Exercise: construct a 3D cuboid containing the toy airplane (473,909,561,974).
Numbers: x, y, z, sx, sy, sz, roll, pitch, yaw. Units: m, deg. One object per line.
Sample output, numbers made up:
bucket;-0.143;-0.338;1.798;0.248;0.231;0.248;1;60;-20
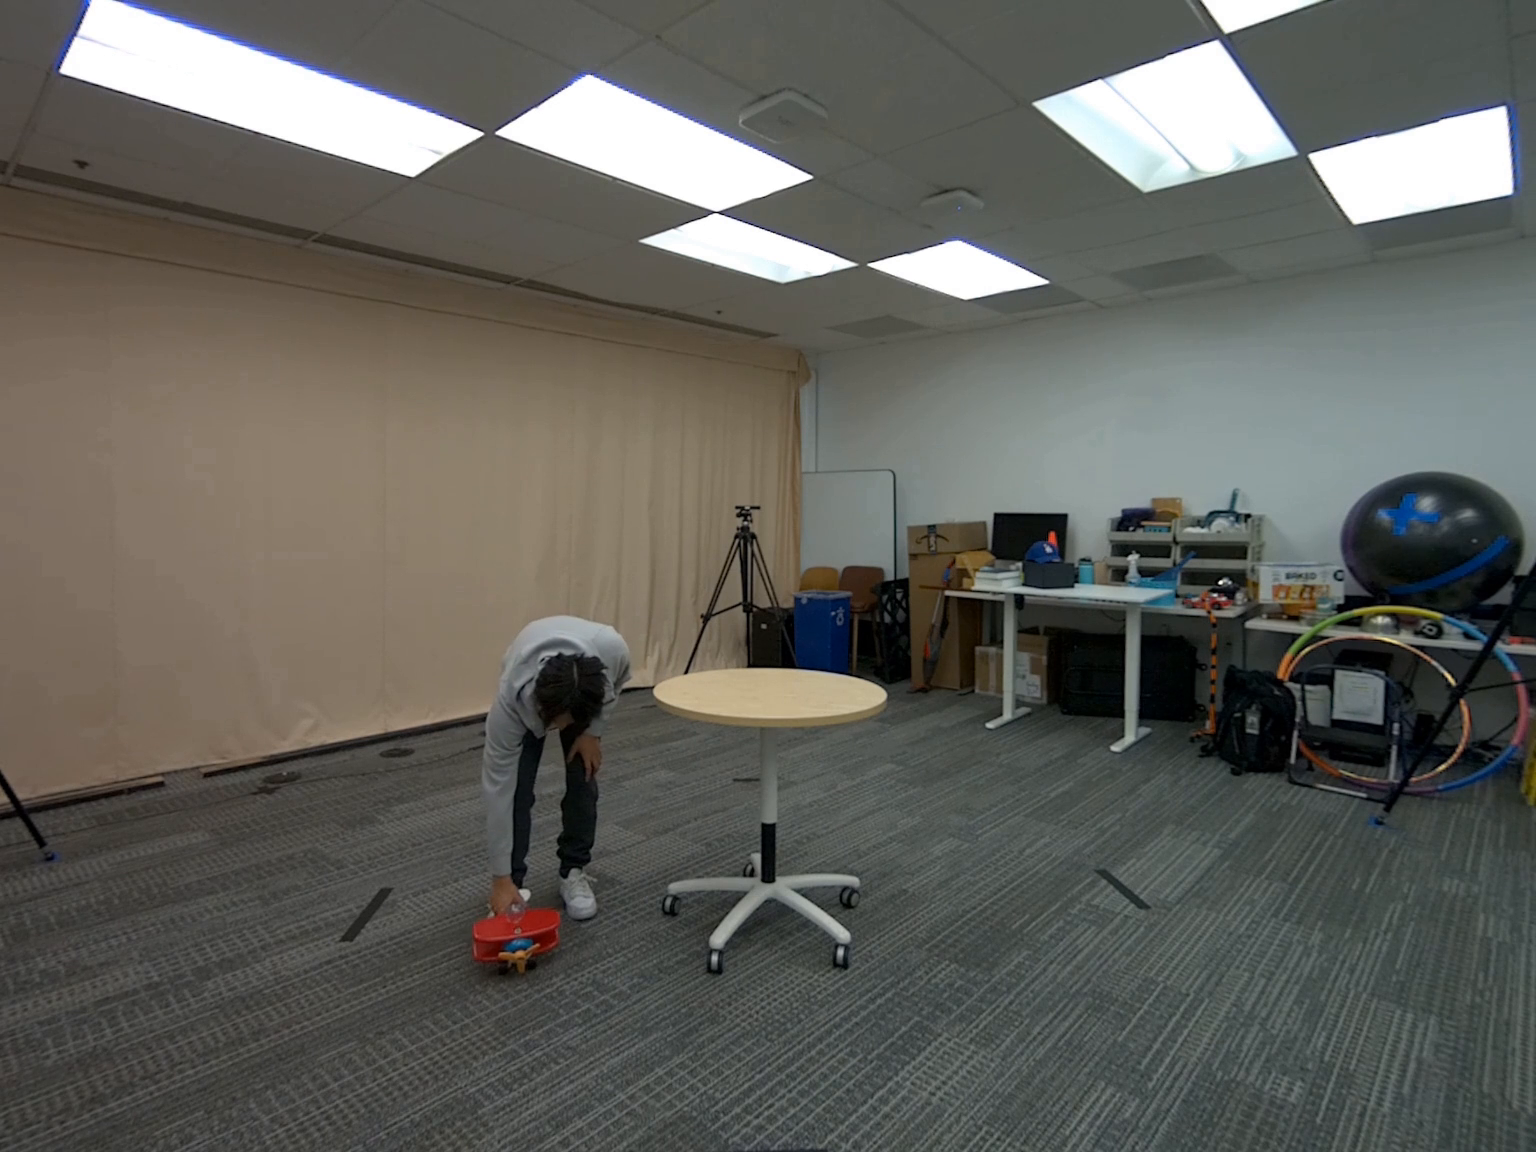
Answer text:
toy airplane;-0.779;1.070;2.558;0.267;0.155;0.246;37;43;27
